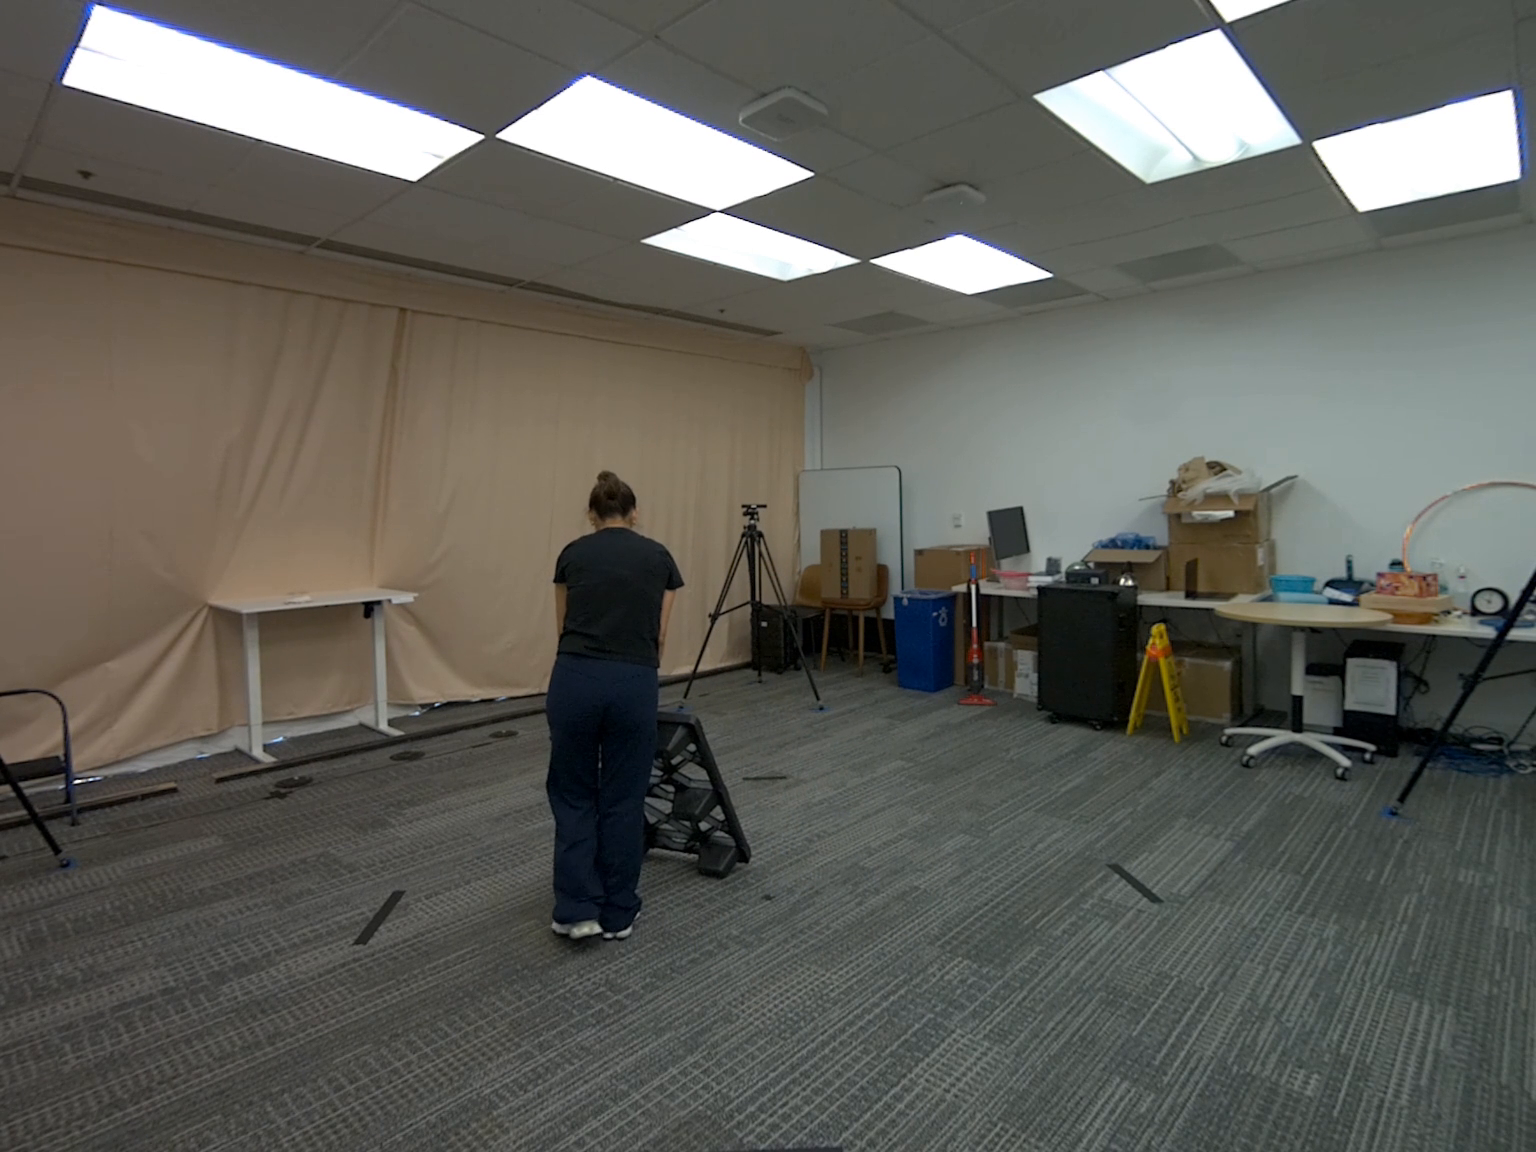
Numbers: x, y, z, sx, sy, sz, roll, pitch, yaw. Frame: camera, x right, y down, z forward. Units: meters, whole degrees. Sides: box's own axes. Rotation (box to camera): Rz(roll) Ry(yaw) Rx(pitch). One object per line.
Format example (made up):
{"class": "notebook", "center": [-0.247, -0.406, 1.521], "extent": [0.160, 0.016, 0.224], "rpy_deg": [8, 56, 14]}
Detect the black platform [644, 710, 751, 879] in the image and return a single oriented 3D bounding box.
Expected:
{"class": "black platform", "center": [-0.430, 0.806, 3.078], "extent": [0.619, 0.786, 0.143], "rpy_deg": [1, 37, 23]}
